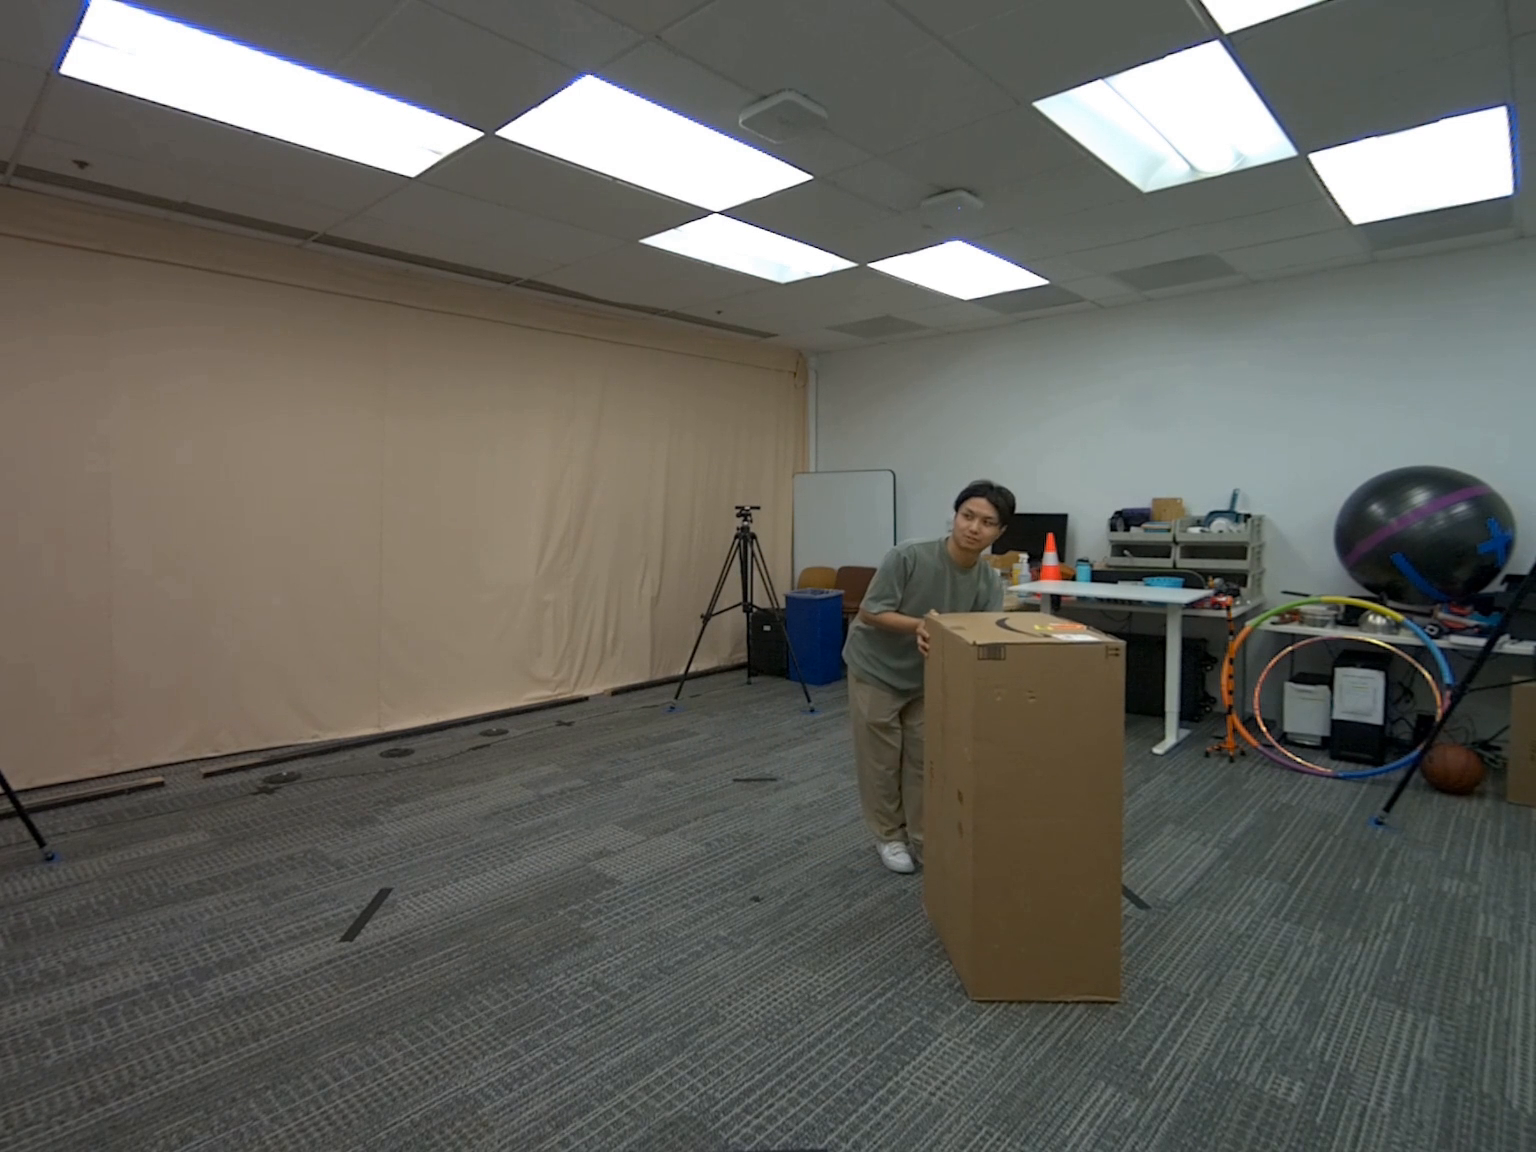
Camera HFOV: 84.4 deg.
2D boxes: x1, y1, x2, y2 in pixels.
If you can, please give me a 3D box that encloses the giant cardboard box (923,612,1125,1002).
[{"bbox_3d":[0.765,0.664,2.613,0.426,1.023,0.579,-1,4,-2],"label":"giant cardboard box"}]
